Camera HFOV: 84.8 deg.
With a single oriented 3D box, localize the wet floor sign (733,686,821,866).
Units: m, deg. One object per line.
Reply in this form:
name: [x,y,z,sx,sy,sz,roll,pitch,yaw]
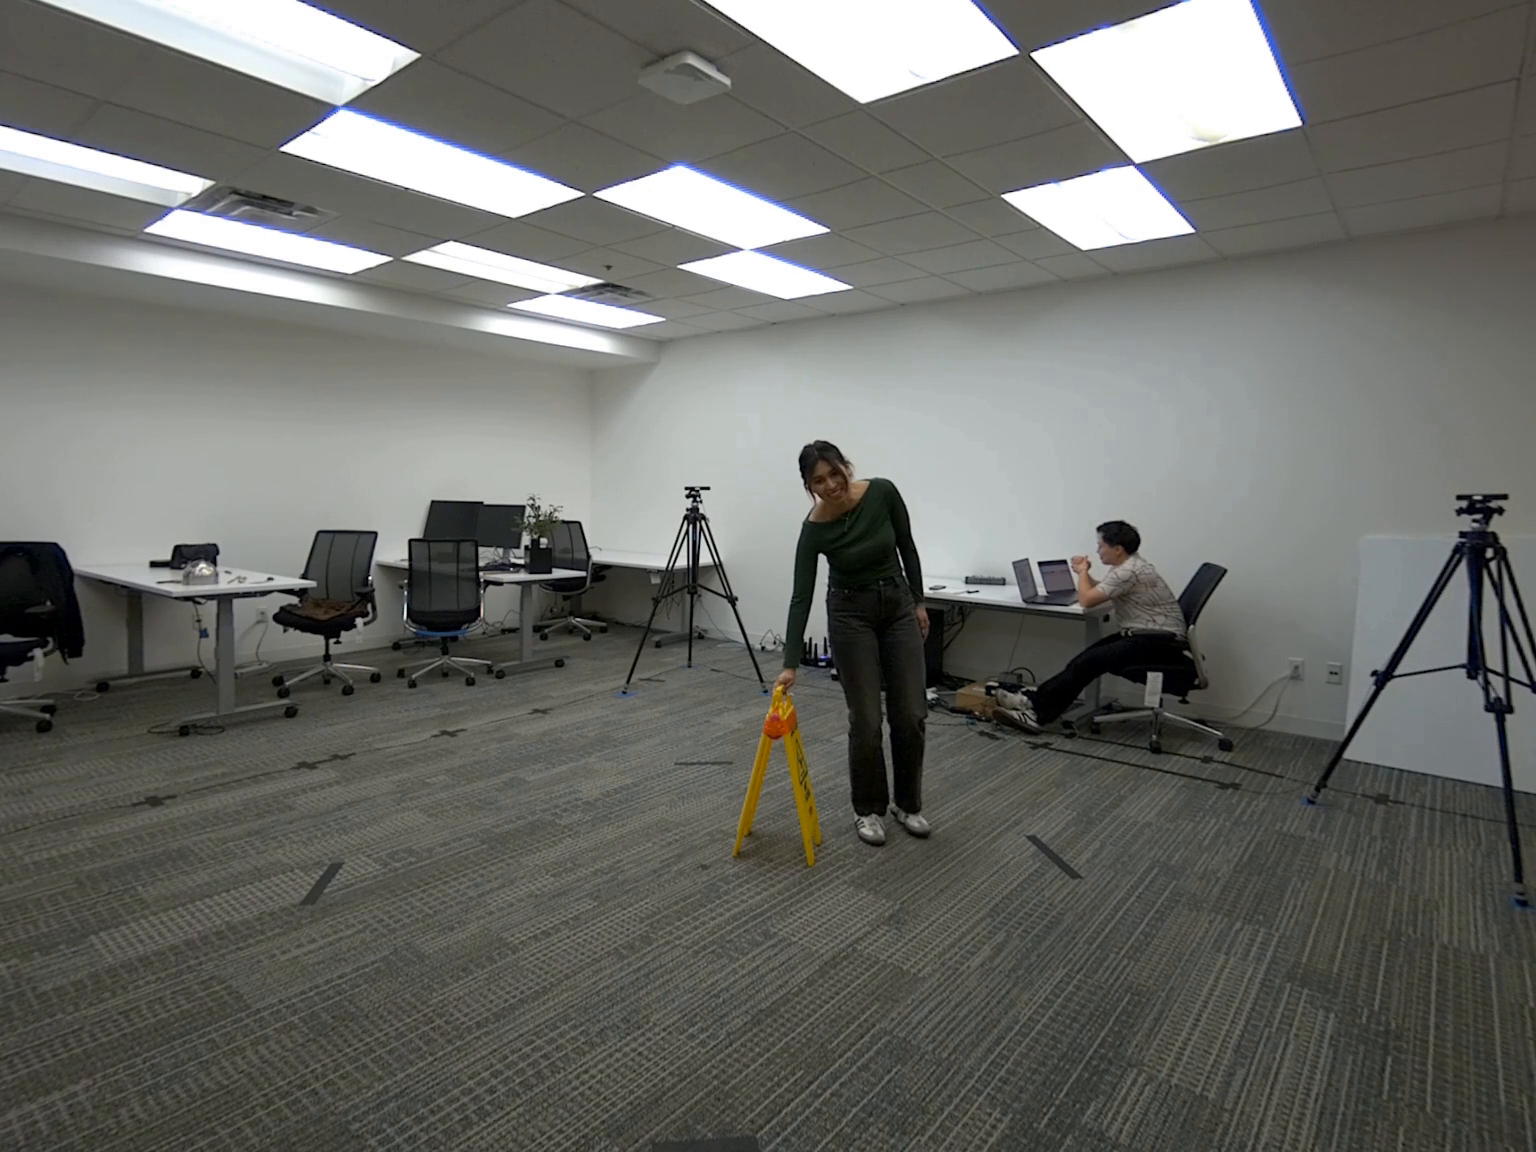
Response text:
wet floor sign: [0.034,0.729,3.283,0.294,0.645,0.278,1,2,14]
